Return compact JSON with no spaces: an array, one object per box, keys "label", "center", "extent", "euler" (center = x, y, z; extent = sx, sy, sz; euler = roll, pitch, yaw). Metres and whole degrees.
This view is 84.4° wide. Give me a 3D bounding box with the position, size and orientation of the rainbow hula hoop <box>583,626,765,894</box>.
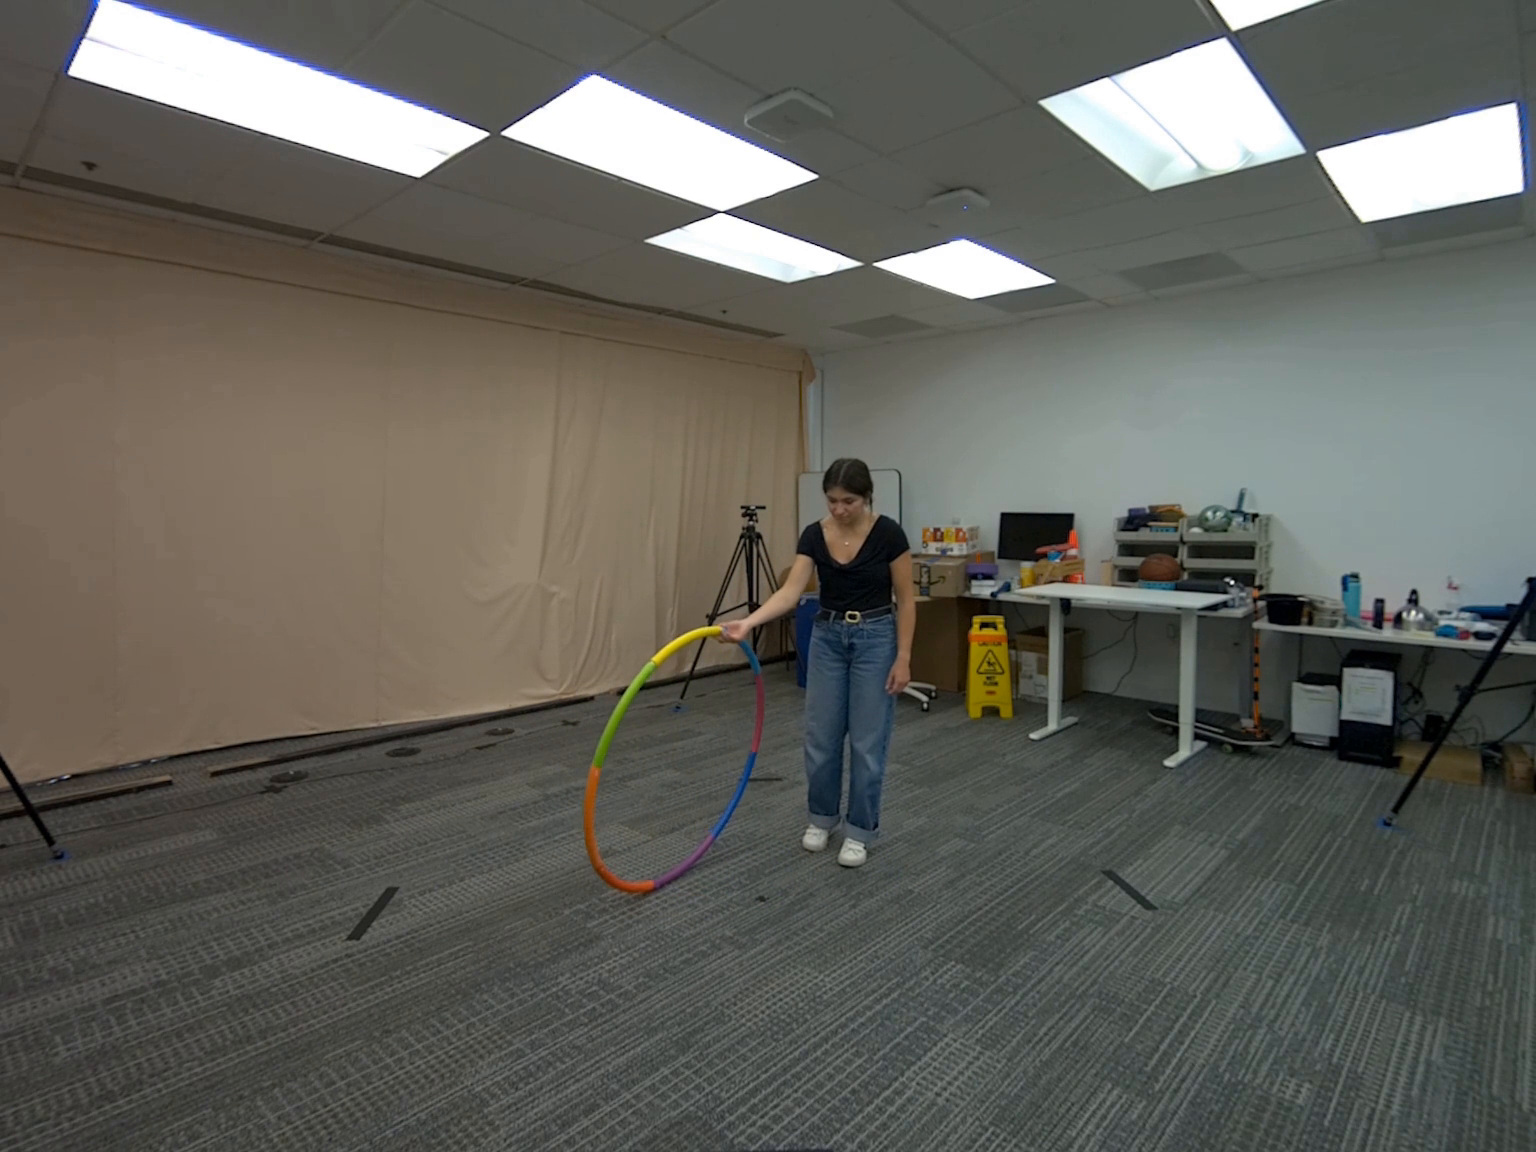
[{"label":"rainbow hula hoop","center":[-0.290,0.668,3.043],"extent":[0.037,0.974,0.951],"euler":[15,12,32]}]
